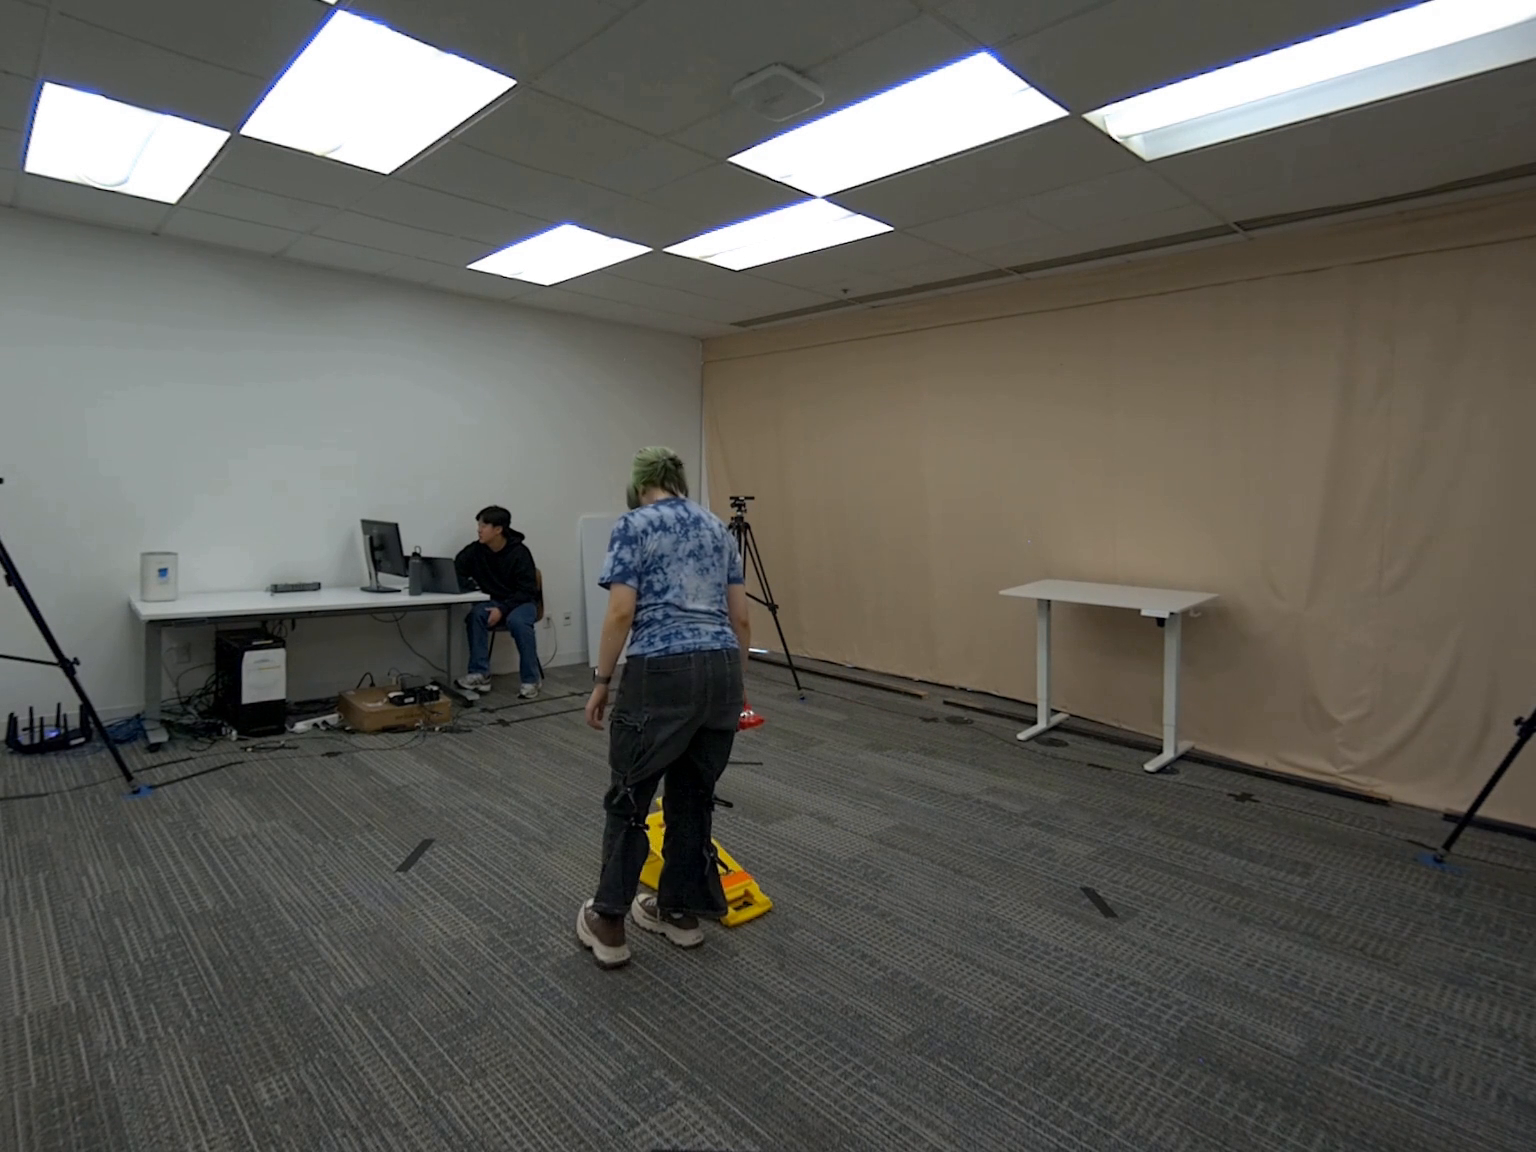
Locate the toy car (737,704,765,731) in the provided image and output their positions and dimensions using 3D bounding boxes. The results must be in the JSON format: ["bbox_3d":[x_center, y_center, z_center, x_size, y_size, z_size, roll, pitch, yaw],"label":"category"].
[{"bbox_3d":[-0.125,0.482,2.820,0.127,0.083,0.260,-2,-1,-45],"label":"toy car"}]
